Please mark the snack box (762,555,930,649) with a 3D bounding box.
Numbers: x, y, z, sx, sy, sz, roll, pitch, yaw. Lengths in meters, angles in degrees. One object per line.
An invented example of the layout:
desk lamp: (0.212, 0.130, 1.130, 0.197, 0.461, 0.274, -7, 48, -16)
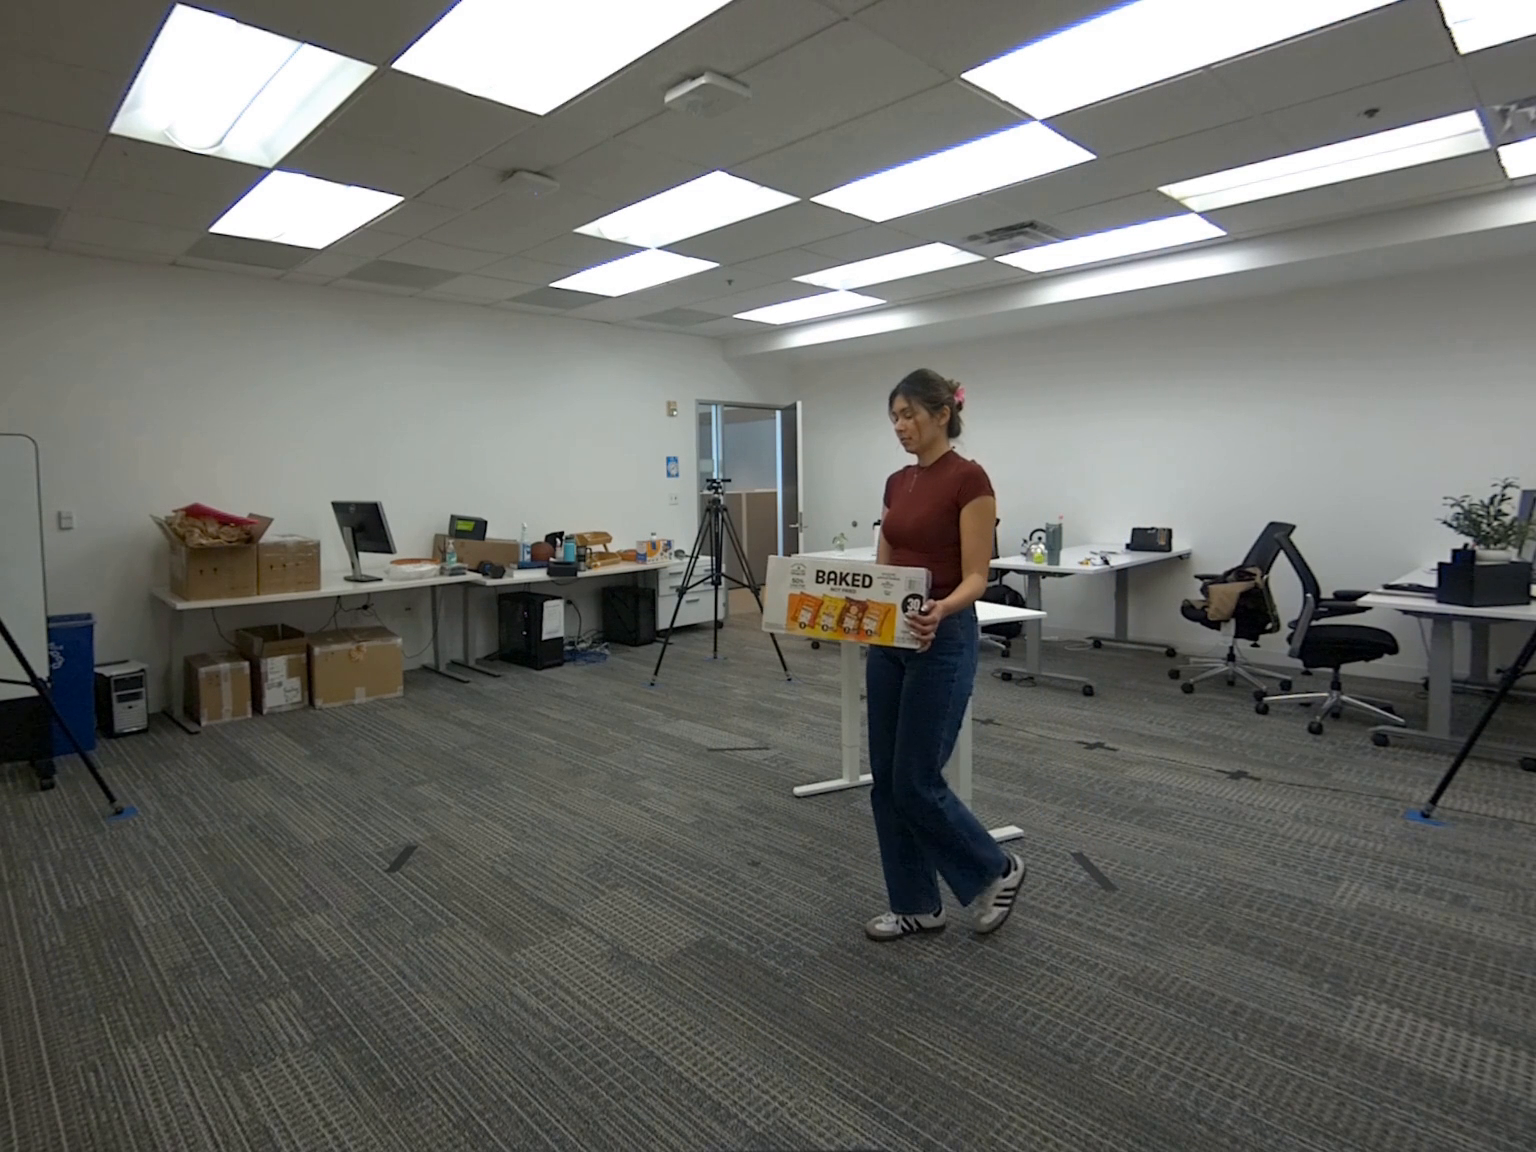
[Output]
snack box: (0.228, 0.062, 2.333, 0.411, 0.206, 0.335, 5, -1, 14)
